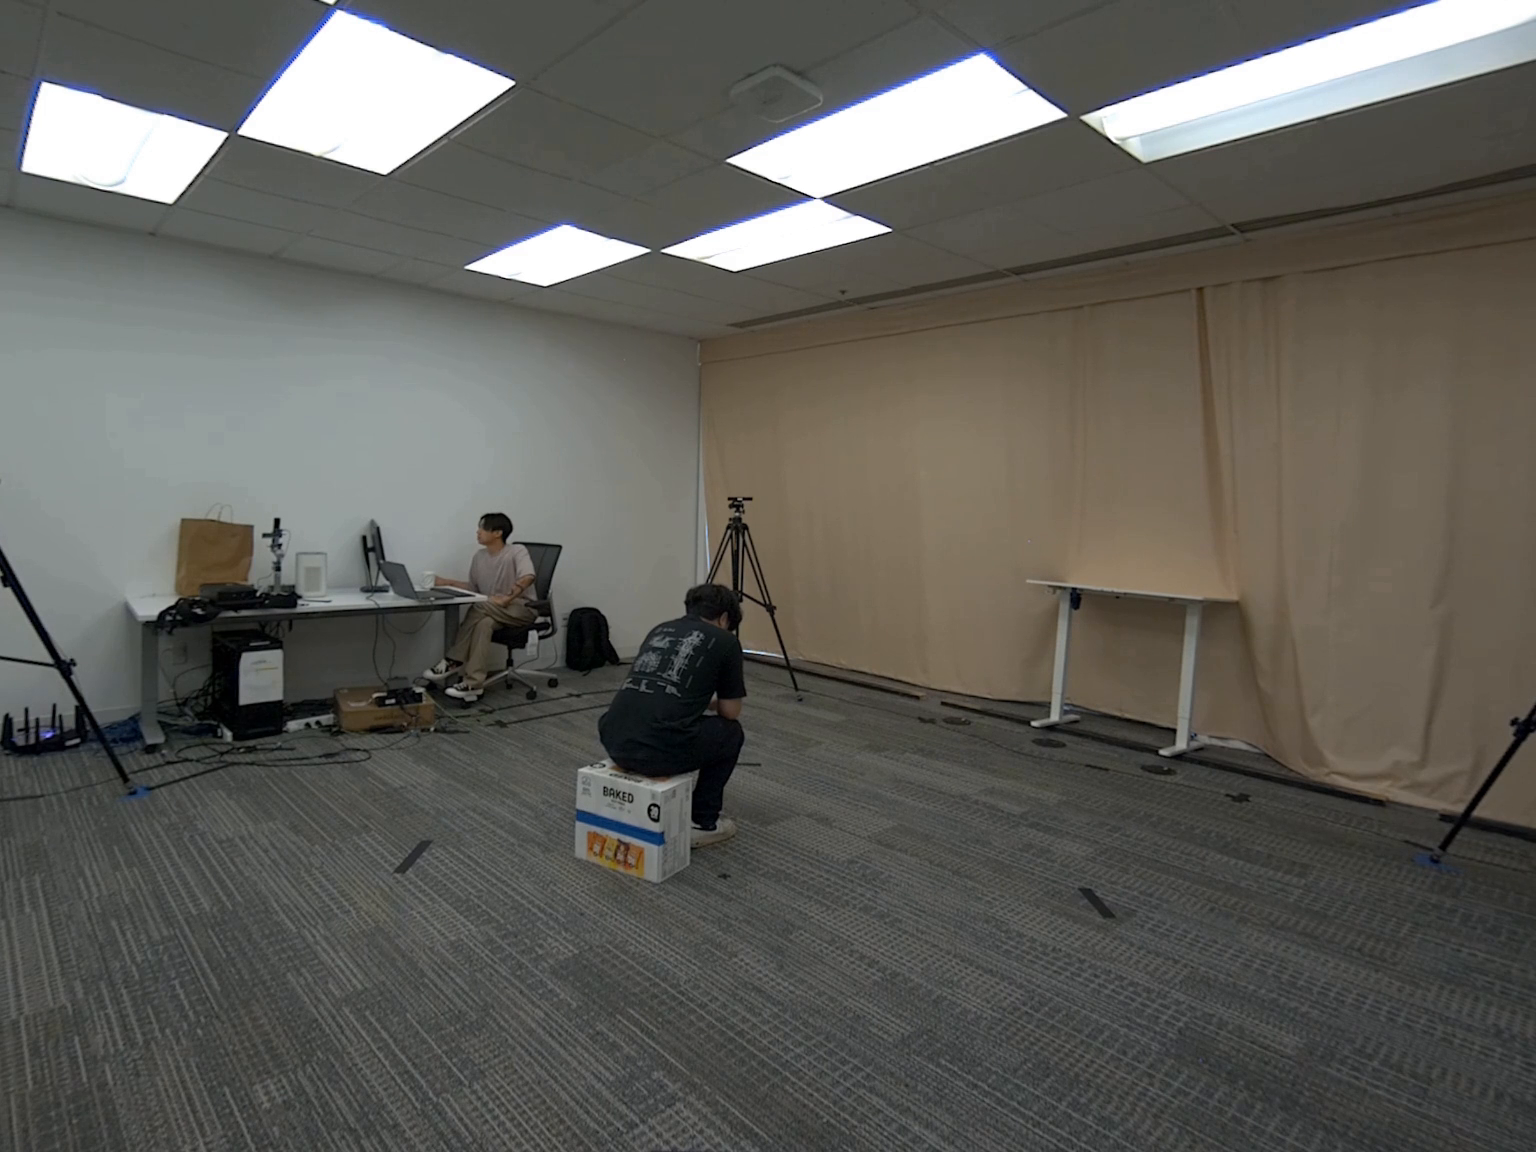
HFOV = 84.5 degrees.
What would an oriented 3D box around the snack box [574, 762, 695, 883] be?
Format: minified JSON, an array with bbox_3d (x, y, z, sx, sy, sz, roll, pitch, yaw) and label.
[{"bbox_3d":[-0.523,0.925,3.210,0.414,0.339,0.202,5,6,31],"label":"snack box"}]
